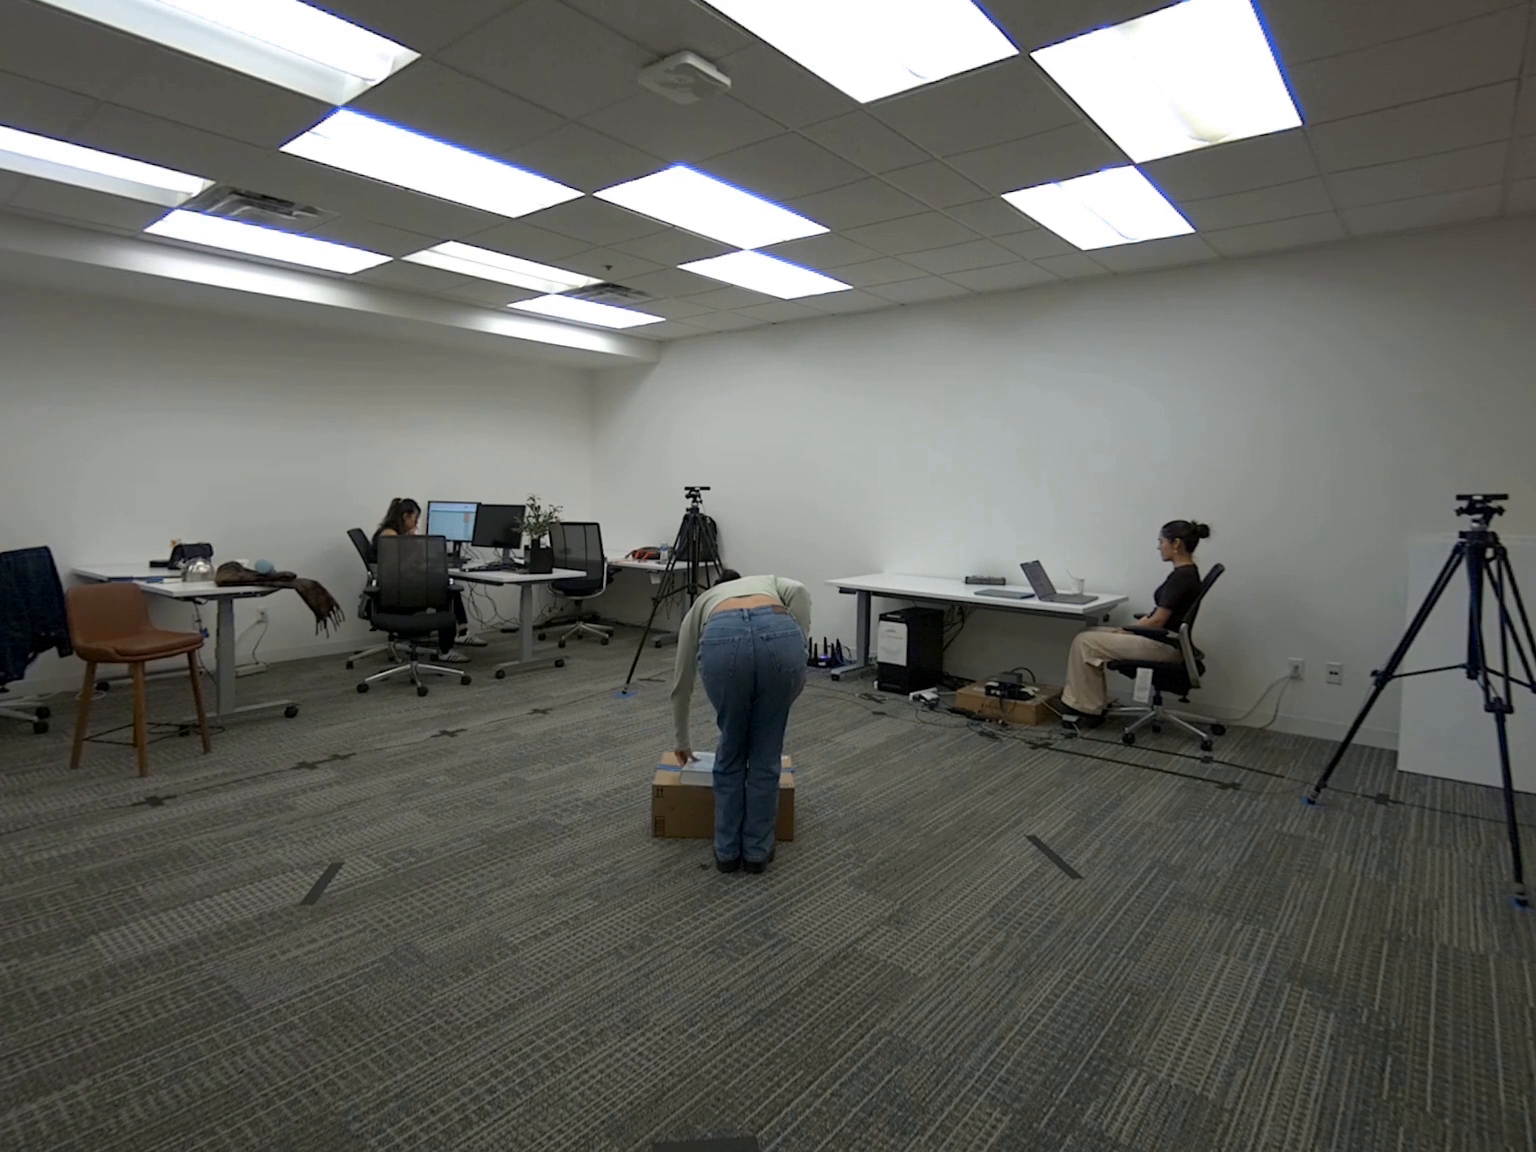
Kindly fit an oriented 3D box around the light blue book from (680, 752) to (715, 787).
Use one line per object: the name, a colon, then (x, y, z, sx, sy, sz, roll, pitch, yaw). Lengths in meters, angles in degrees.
light blue book: (-0.254, 0.785, 3.486, 0.193, 0.059, 0.259, 2, 4, 7)
